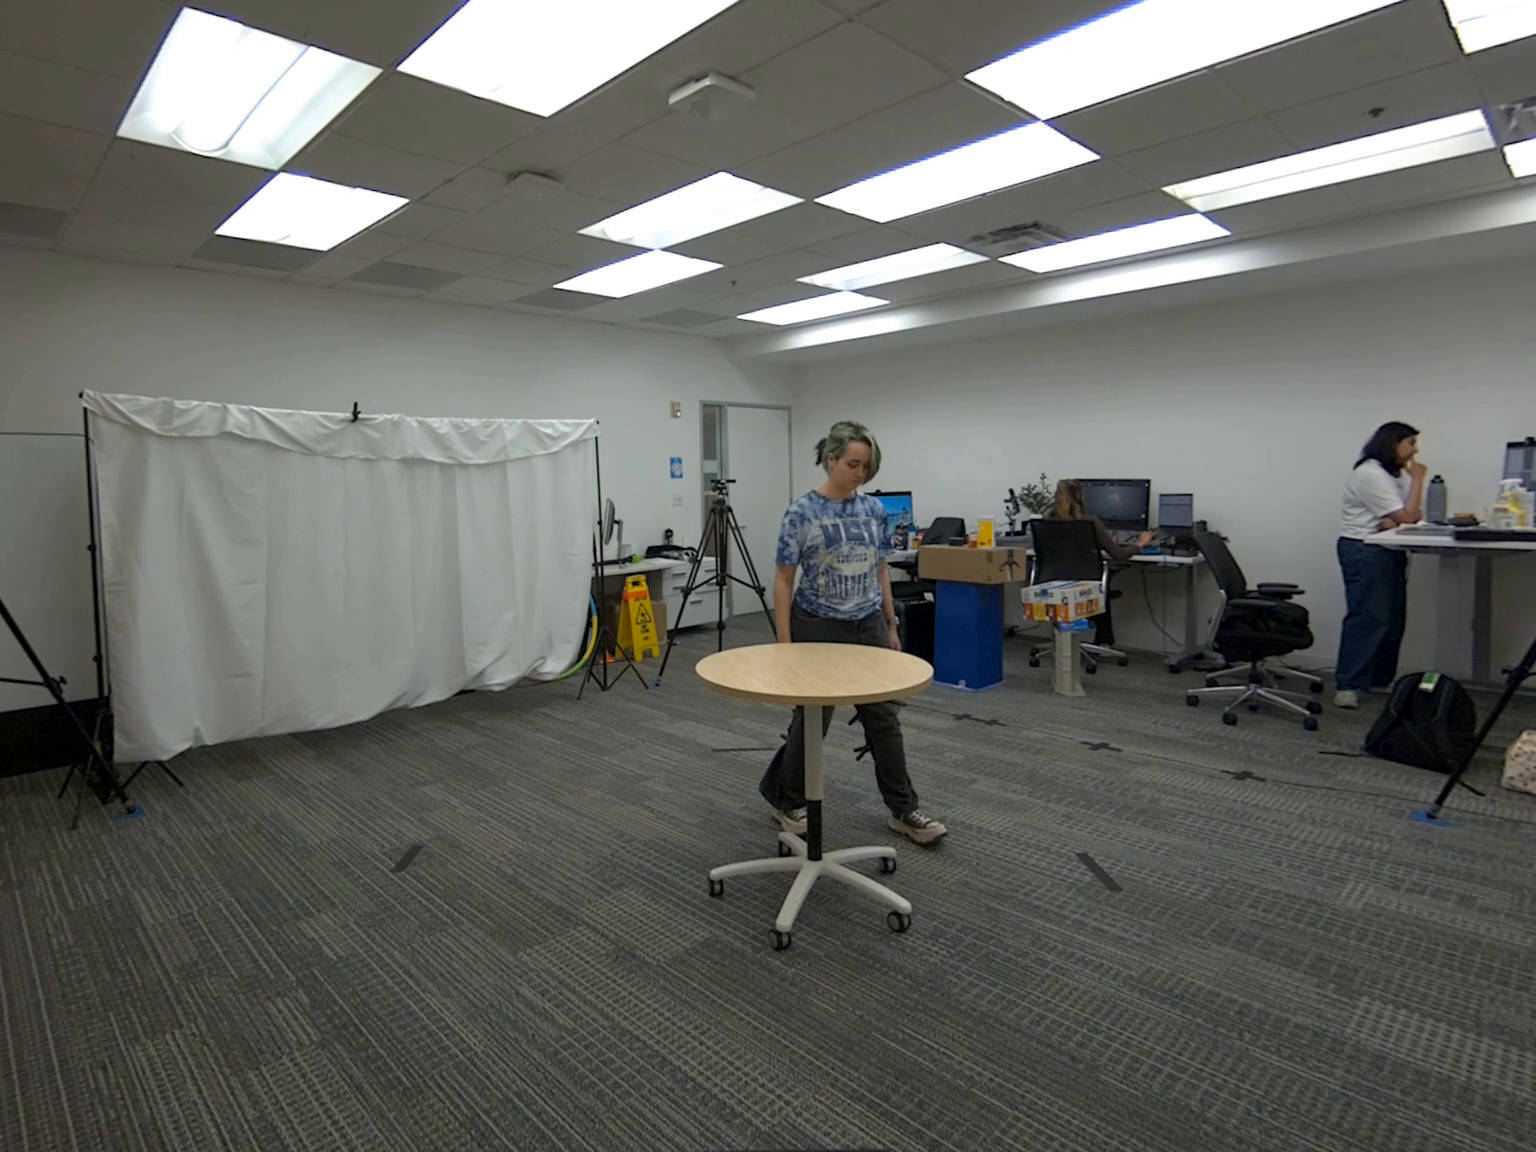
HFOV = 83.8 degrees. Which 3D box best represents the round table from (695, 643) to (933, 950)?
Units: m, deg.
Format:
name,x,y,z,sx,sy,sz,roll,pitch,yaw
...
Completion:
name,x,y,z,sx,sy,sz,roll,pitch,yaw
round table,0.153,0.689,2.810,0.763,0.791,0.768,-1,5,-2
